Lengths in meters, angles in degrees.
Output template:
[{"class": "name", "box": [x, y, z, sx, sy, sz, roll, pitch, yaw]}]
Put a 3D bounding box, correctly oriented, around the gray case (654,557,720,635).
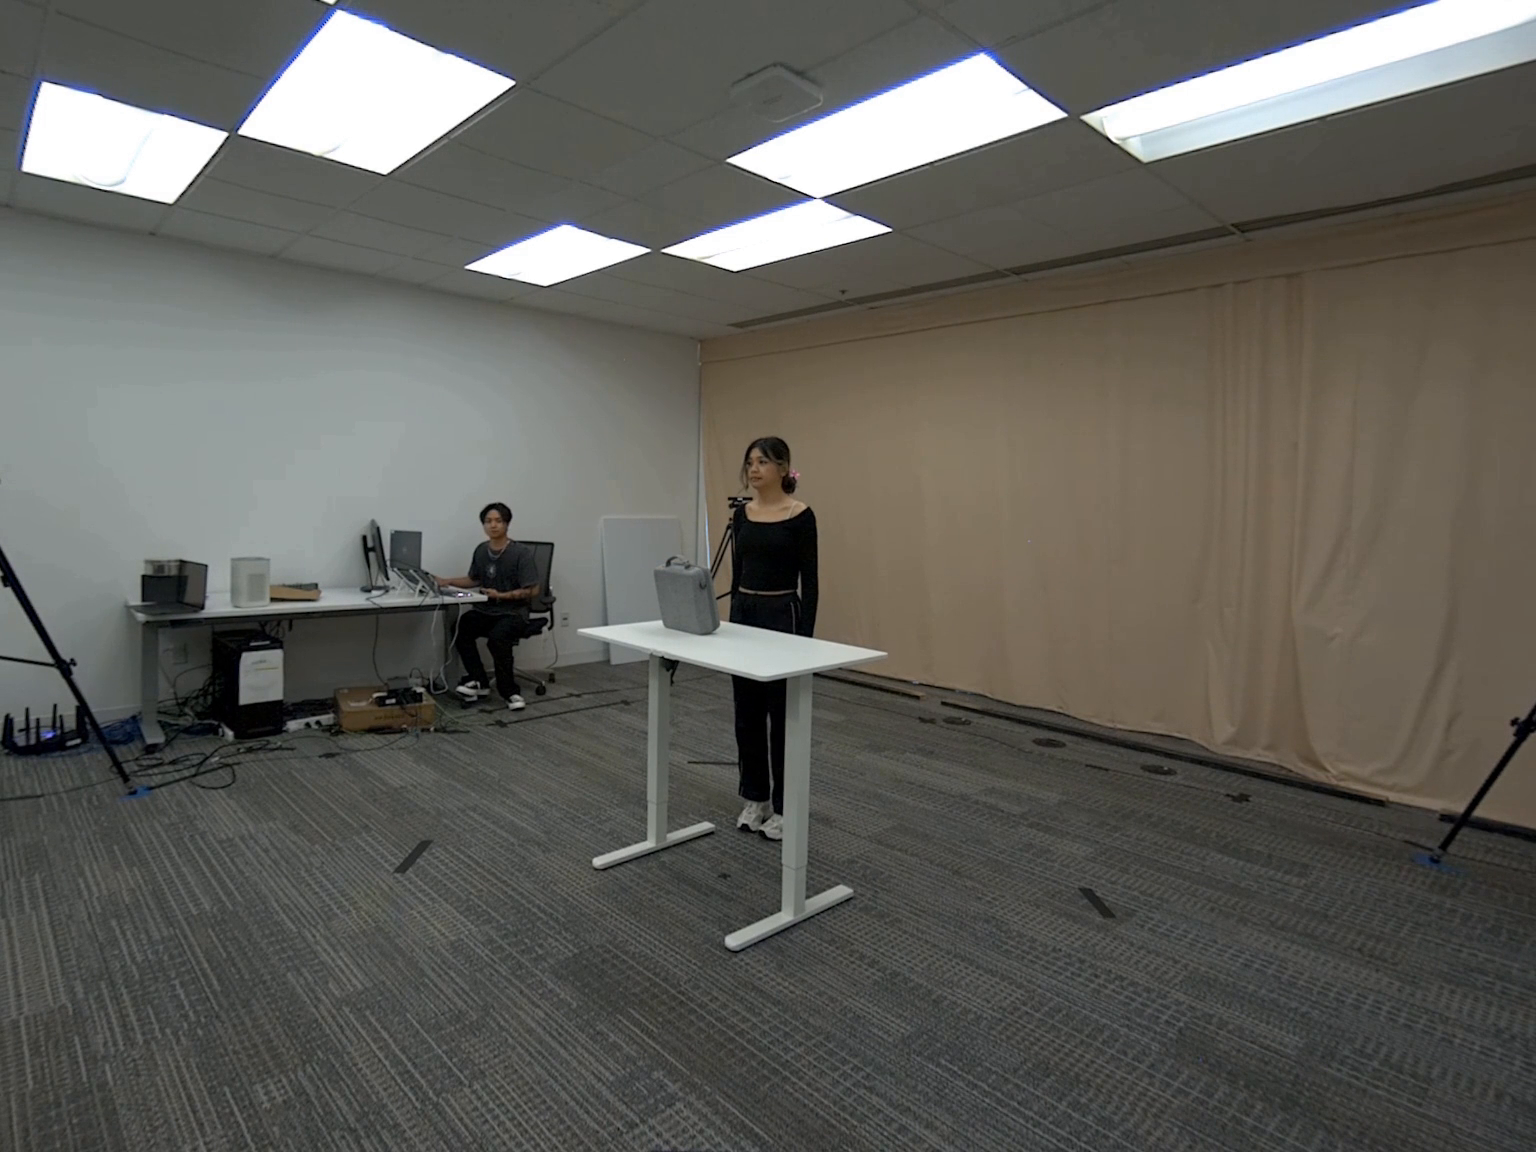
[{"class": "gray case", "box": [-0.319, 0.081, 3.185, 0.103, 0.258, 0.263, -18, 15, -38]}]
